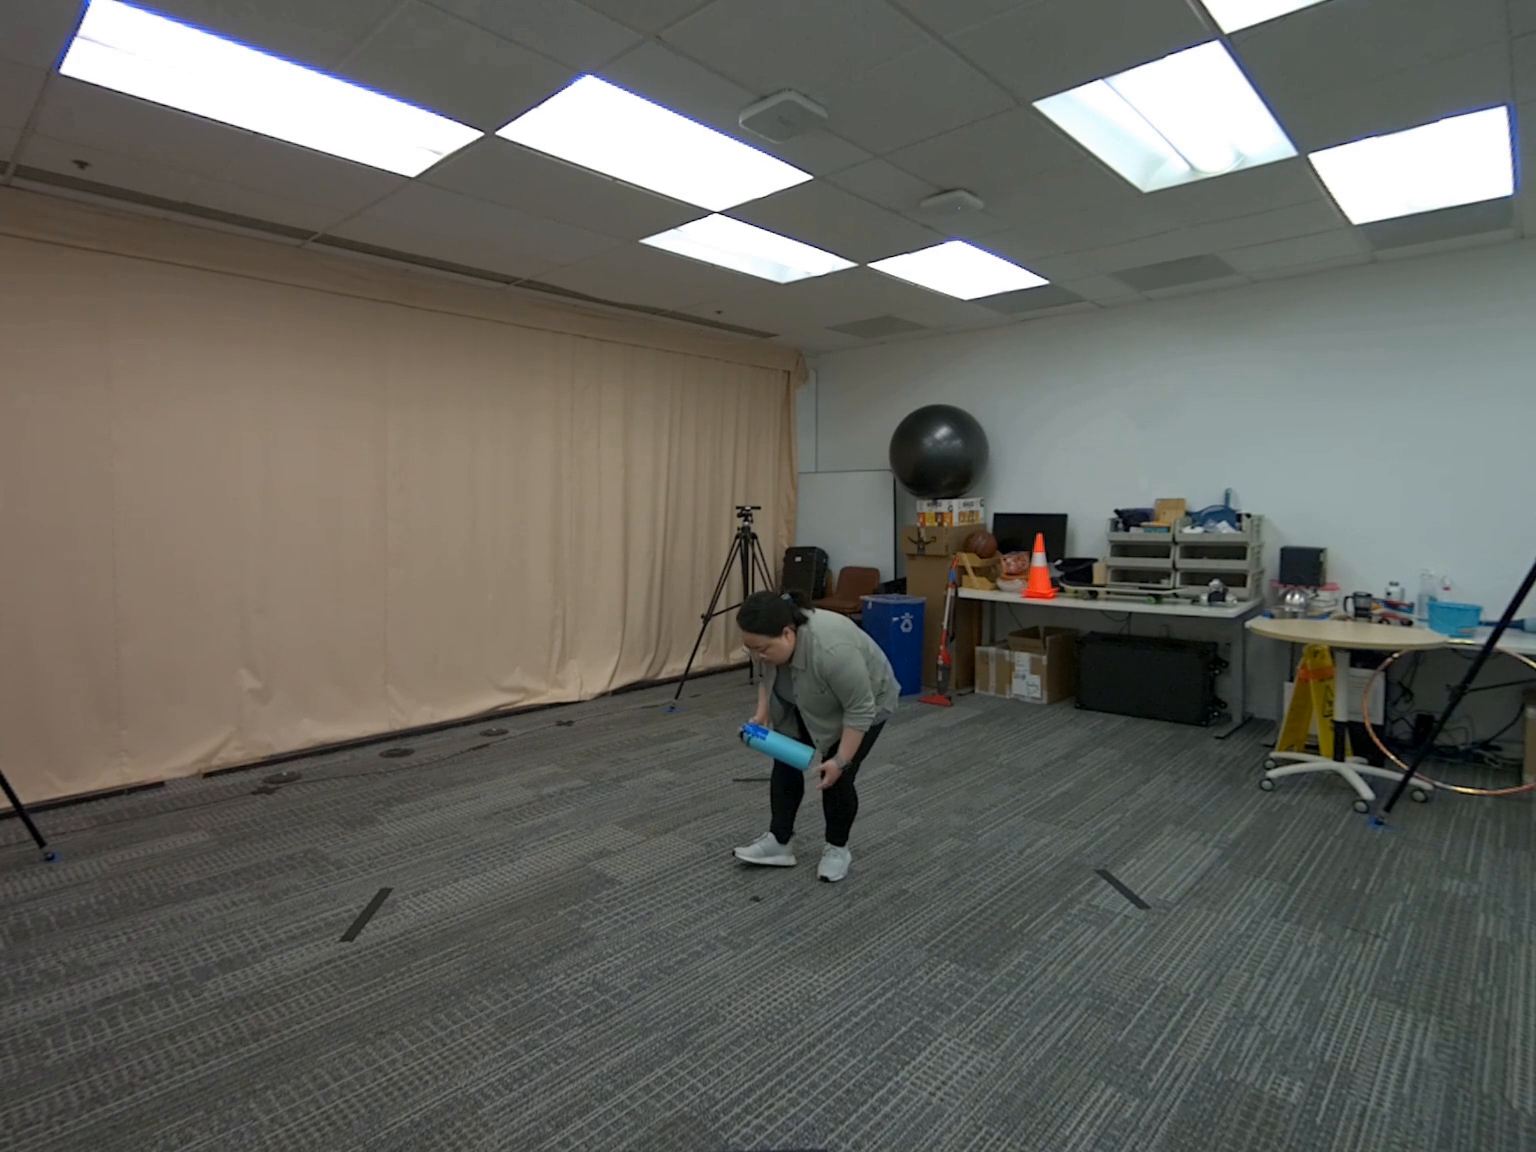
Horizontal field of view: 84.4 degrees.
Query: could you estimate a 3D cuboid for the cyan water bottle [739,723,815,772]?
[{"bbox_3d":[0.027,0.623,3.111,0.288,0.092,0.091,22,8,12],"label":"cyan water bottle"}]
